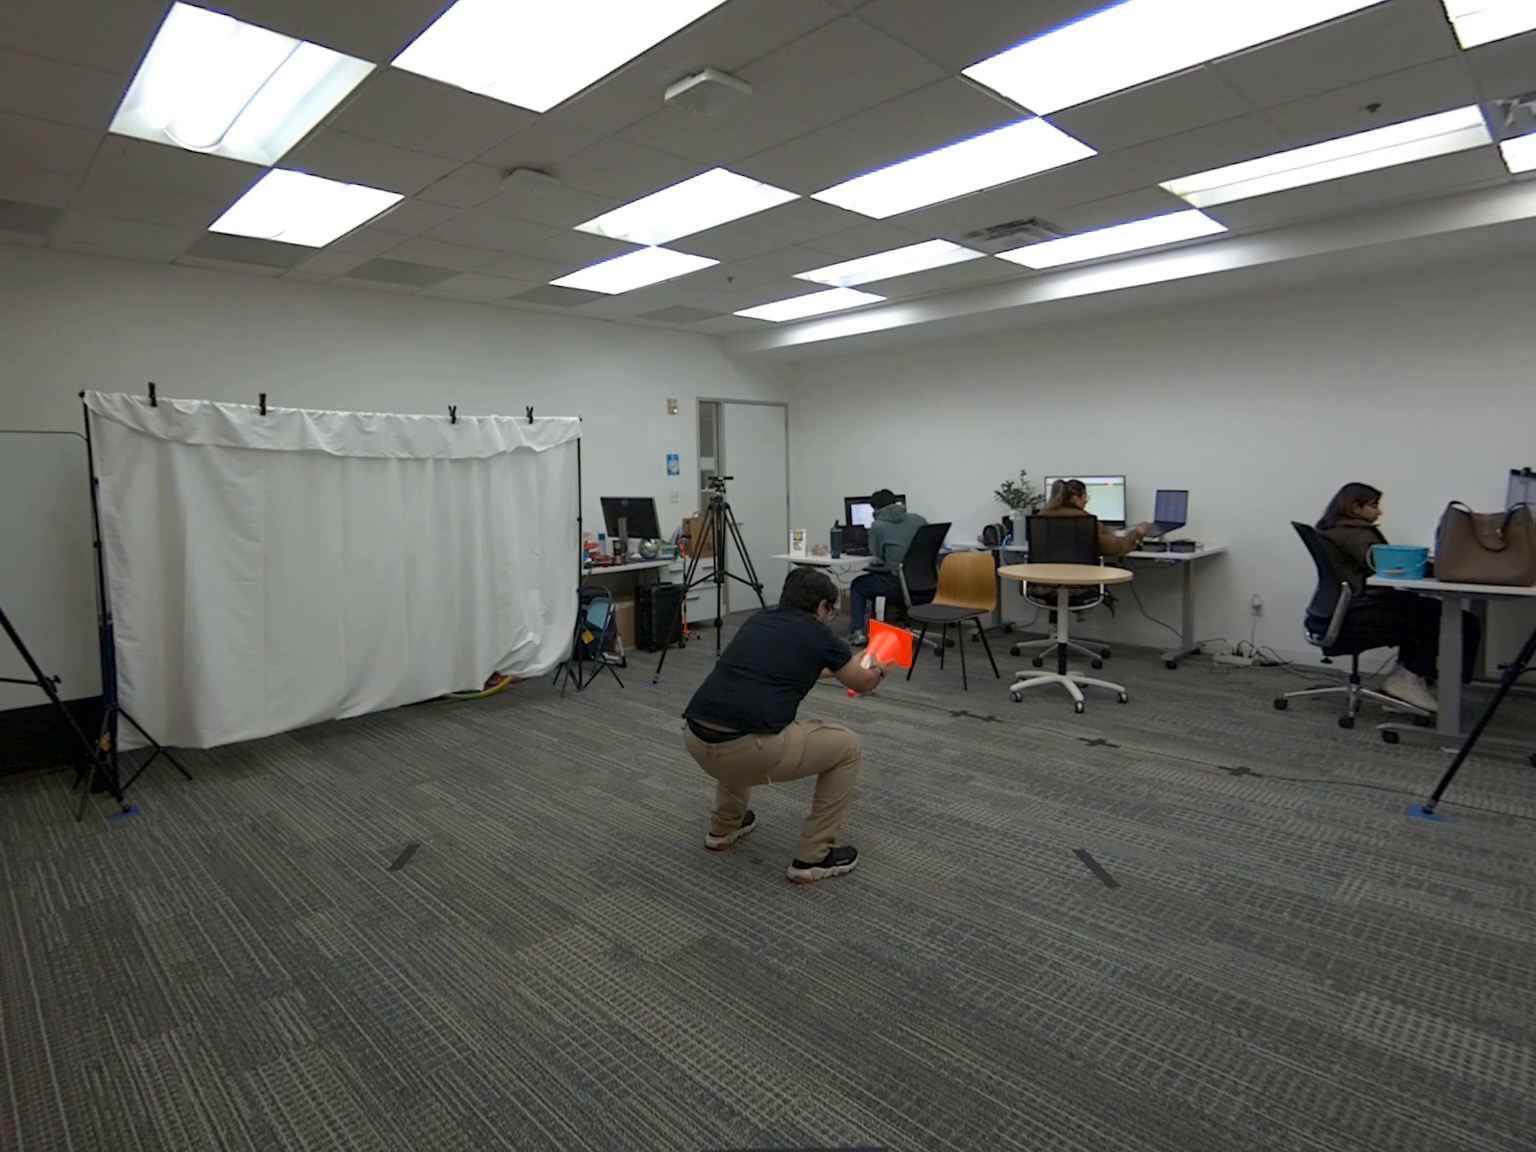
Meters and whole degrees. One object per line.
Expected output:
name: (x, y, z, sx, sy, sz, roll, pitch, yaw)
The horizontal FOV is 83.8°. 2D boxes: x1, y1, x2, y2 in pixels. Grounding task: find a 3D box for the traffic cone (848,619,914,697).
traffic cone: (0.433, 0.380, 3.593, 0.211, 0.198, 0.381, 20, 38, 29)
